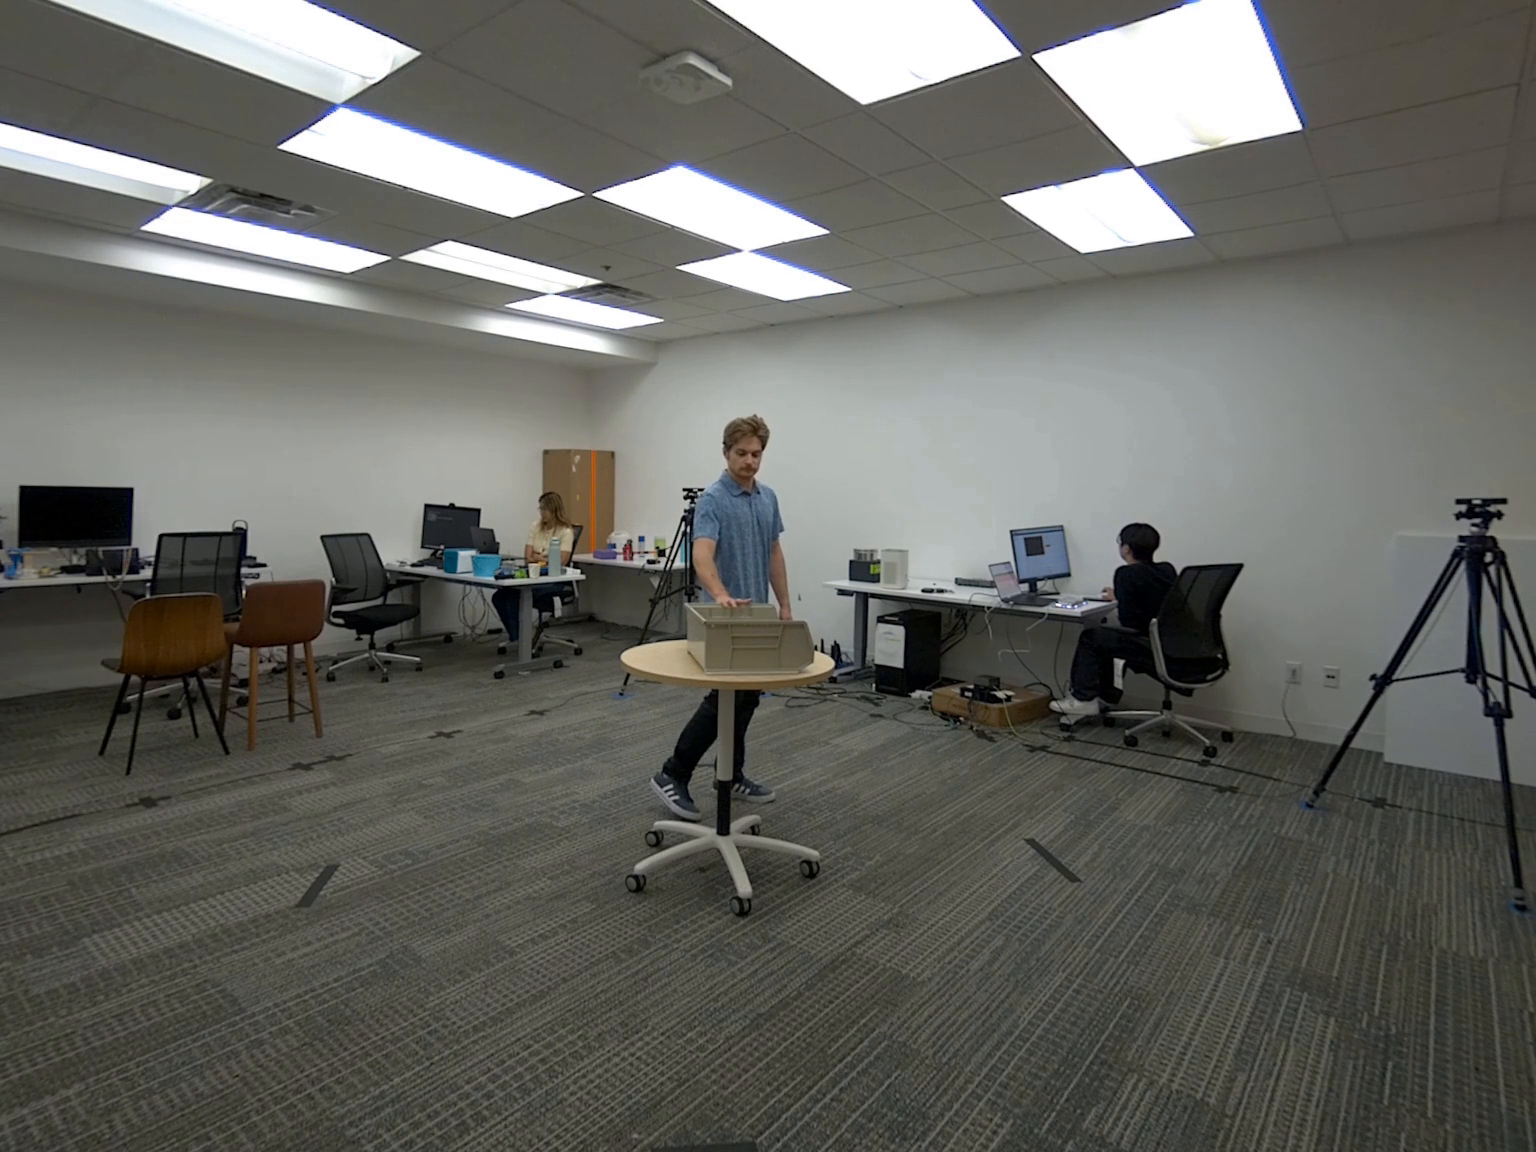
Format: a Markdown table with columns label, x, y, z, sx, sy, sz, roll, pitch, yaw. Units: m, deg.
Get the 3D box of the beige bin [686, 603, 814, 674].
| label | x | y | z | sx | sy | sz | roll | pitch | yaw |
| --- | --- | --- | --- | --- | --- | --- | --- | --- | --- |
| beige bin | -0.078 | 0.219 | 2.980 | 0.372 | 0.188 | 0.430 | 2 | 6 | -12 |
